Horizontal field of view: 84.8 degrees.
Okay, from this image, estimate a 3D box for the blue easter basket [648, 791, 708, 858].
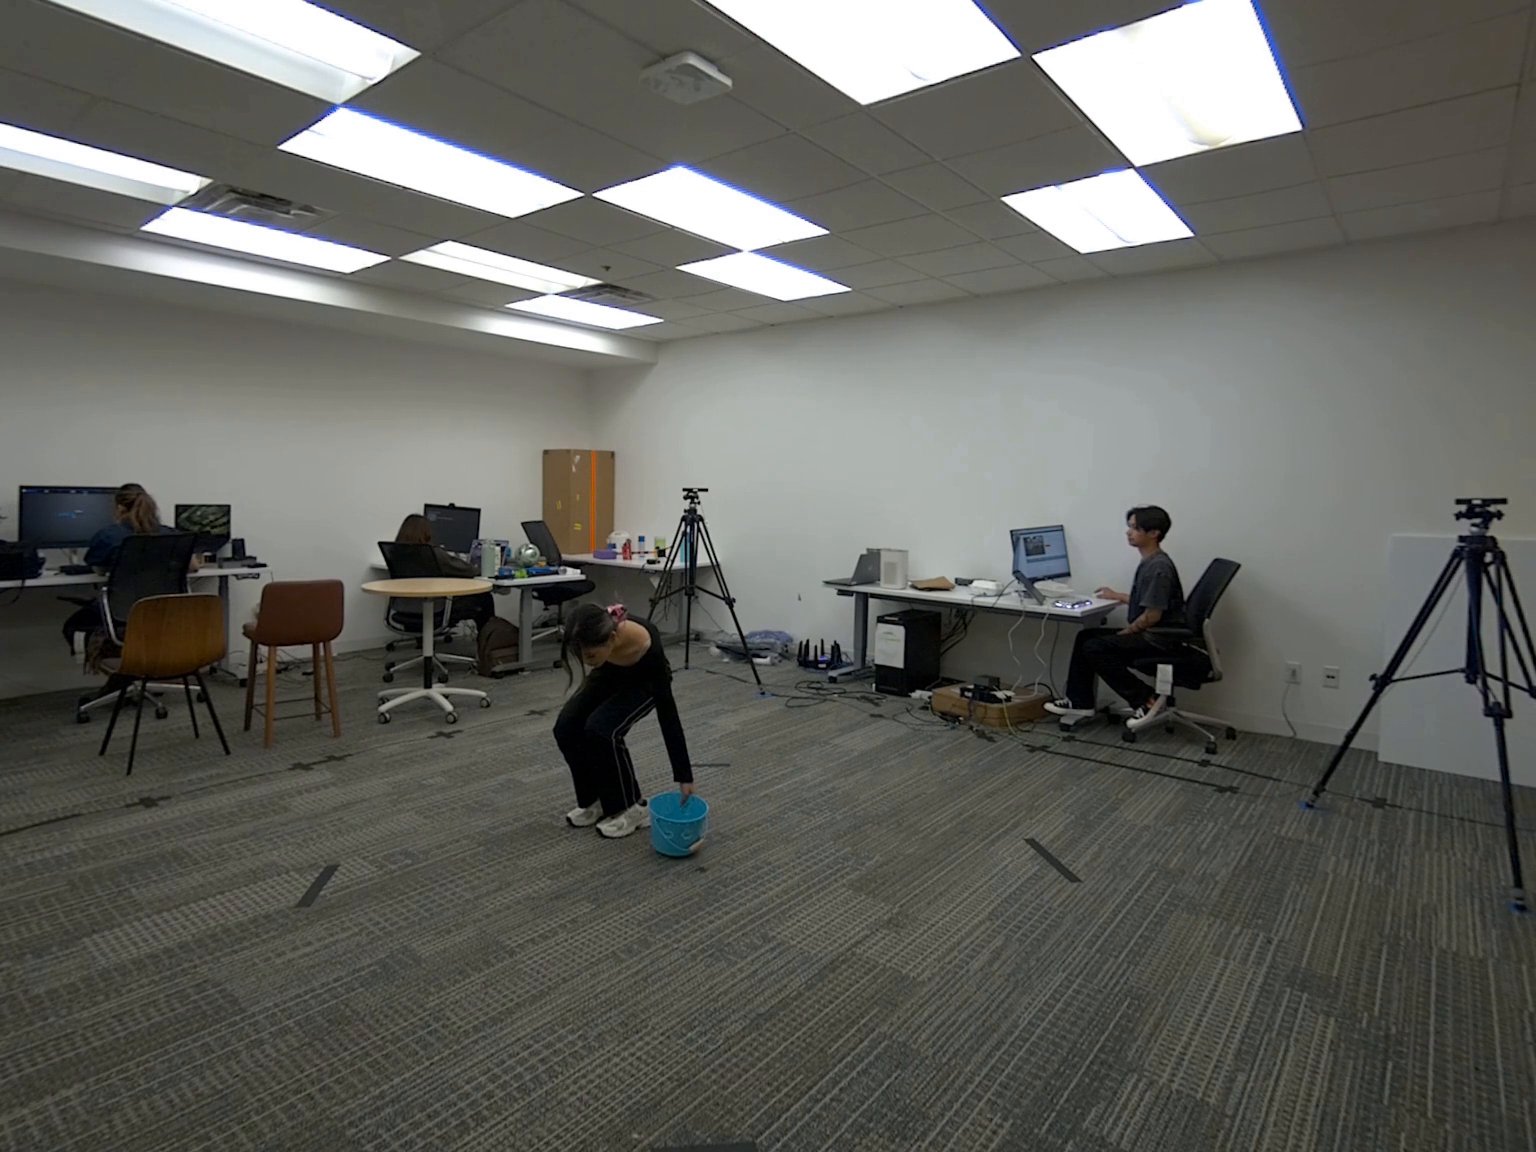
[{"bbox_3d":[-0.357,0.954,3.246,0.243,0.154,0.246,4,10,-2],"label":"blue easter basket"}]
